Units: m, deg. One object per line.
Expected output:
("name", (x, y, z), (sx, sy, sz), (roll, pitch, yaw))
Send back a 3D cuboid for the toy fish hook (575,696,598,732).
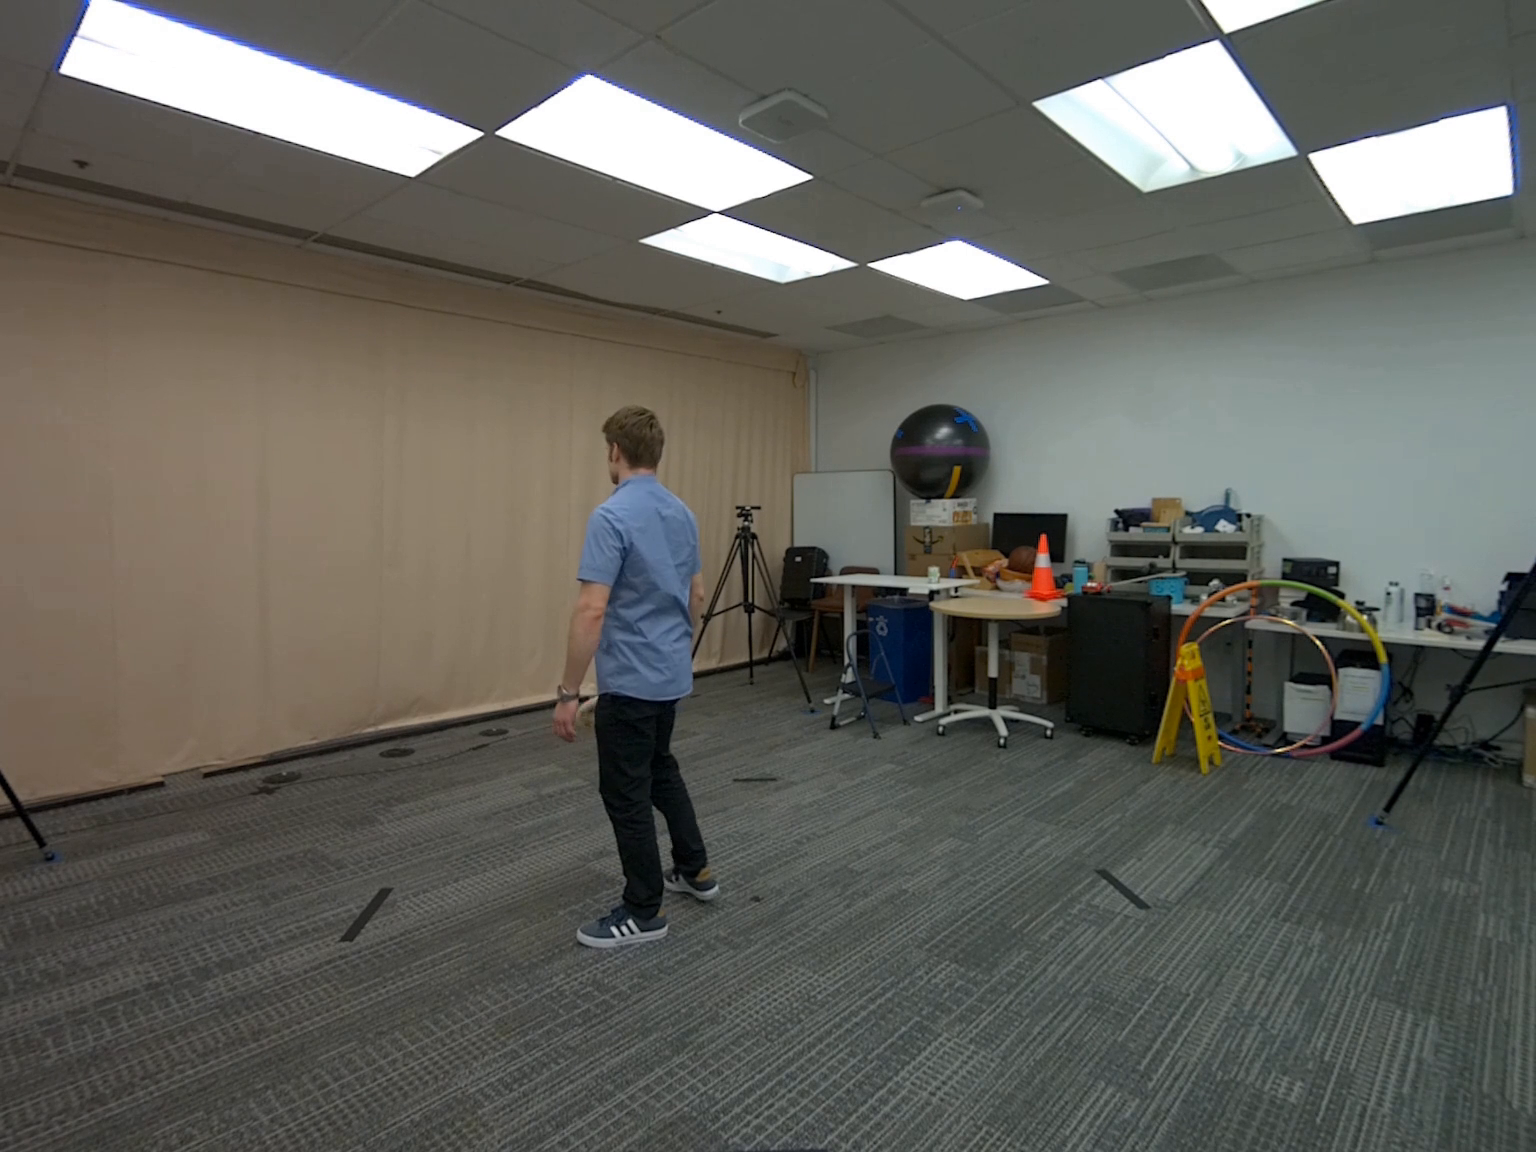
("toy fish hook", (-0.473, 0.457, 3.128), (0.512, 0.049, 0.217), (-27, -47, 17))
